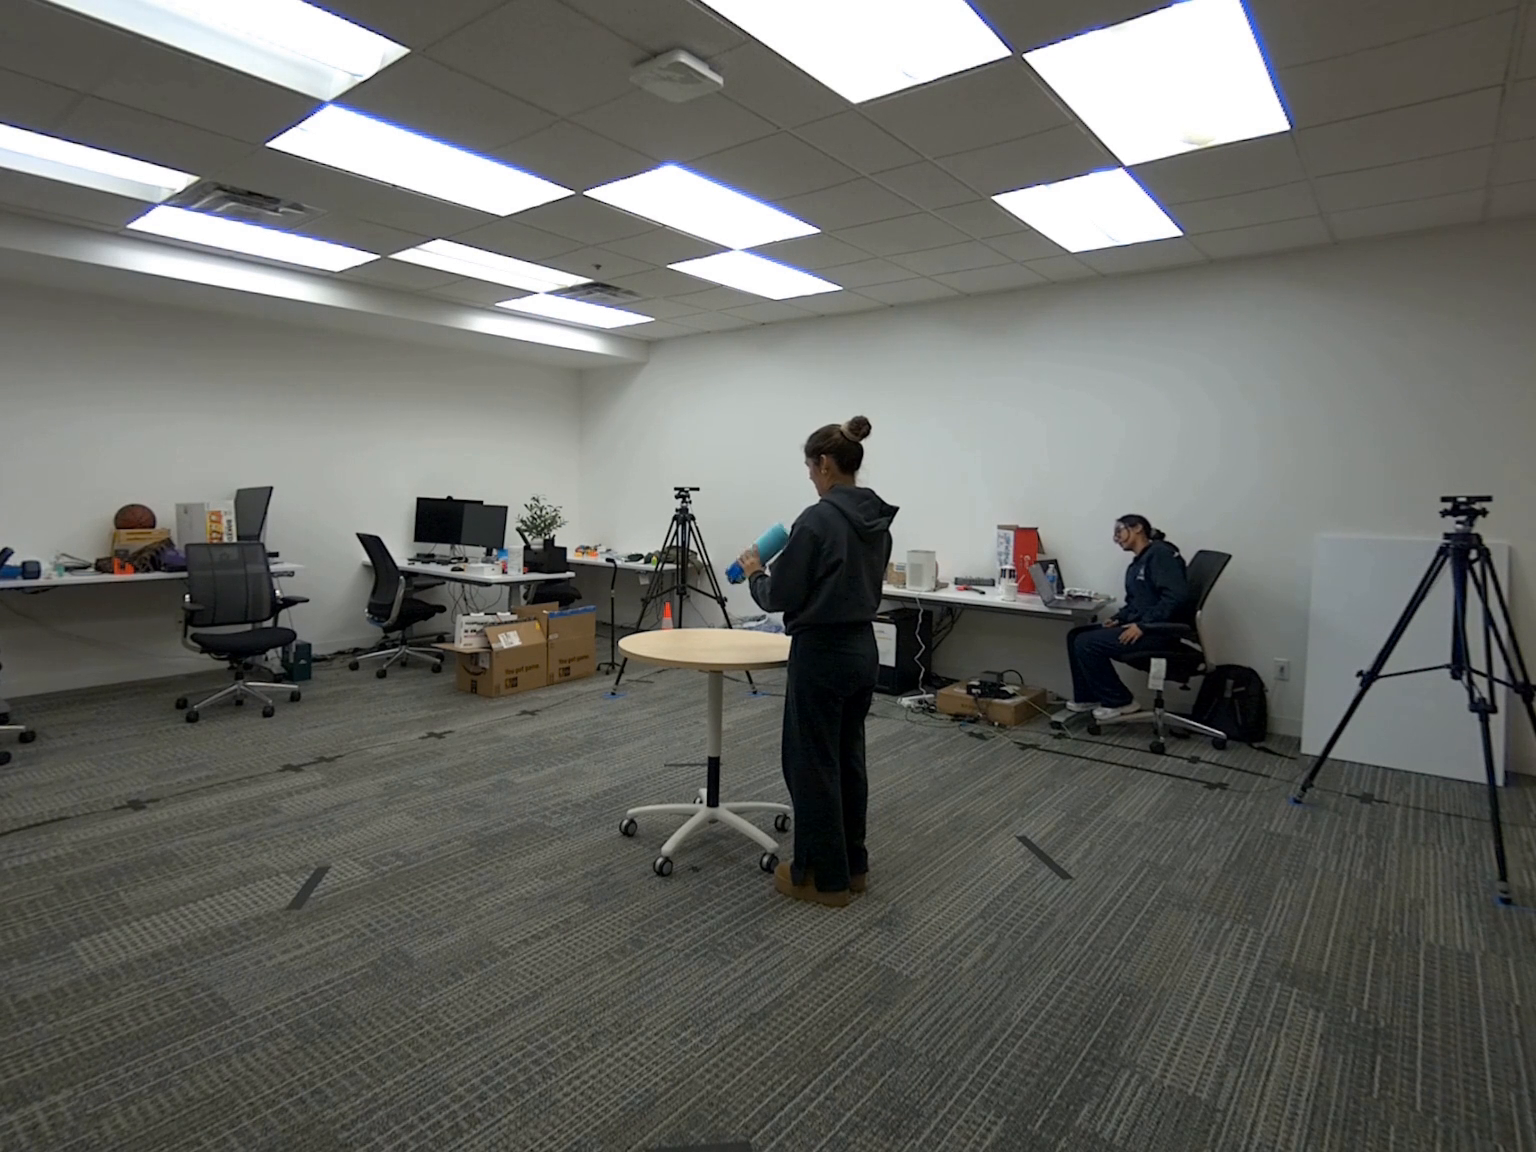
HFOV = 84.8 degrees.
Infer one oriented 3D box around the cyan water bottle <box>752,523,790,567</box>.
[{"bbox_3d":[-0.031,-0.070,3.124,0.284,0.093,0.091,-41,-4,11],"label":"cyan water bottle"}]
